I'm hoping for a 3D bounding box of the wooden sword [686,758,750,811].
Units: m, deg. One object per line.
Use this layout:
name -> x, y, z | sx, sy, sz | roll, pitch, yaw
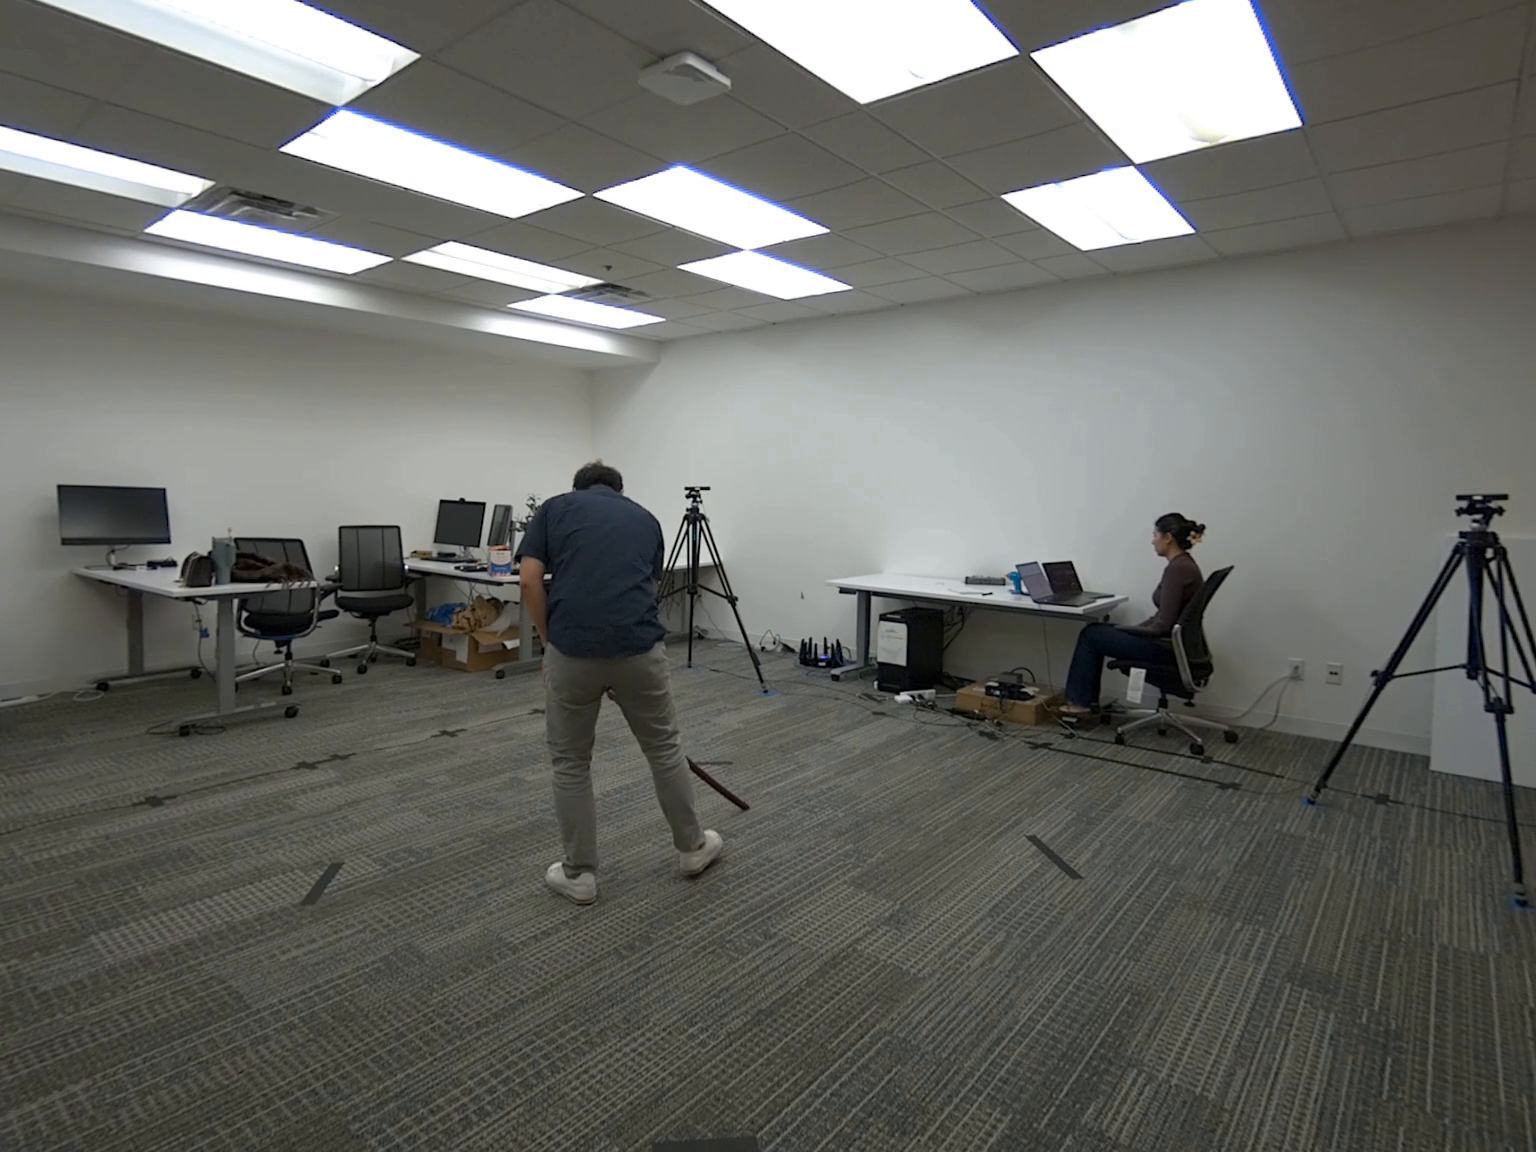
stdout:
wooden sword -> -0.371, 0.708, 3.406 | 0.984, 0.051, 0.025 | 49, 2, -37
